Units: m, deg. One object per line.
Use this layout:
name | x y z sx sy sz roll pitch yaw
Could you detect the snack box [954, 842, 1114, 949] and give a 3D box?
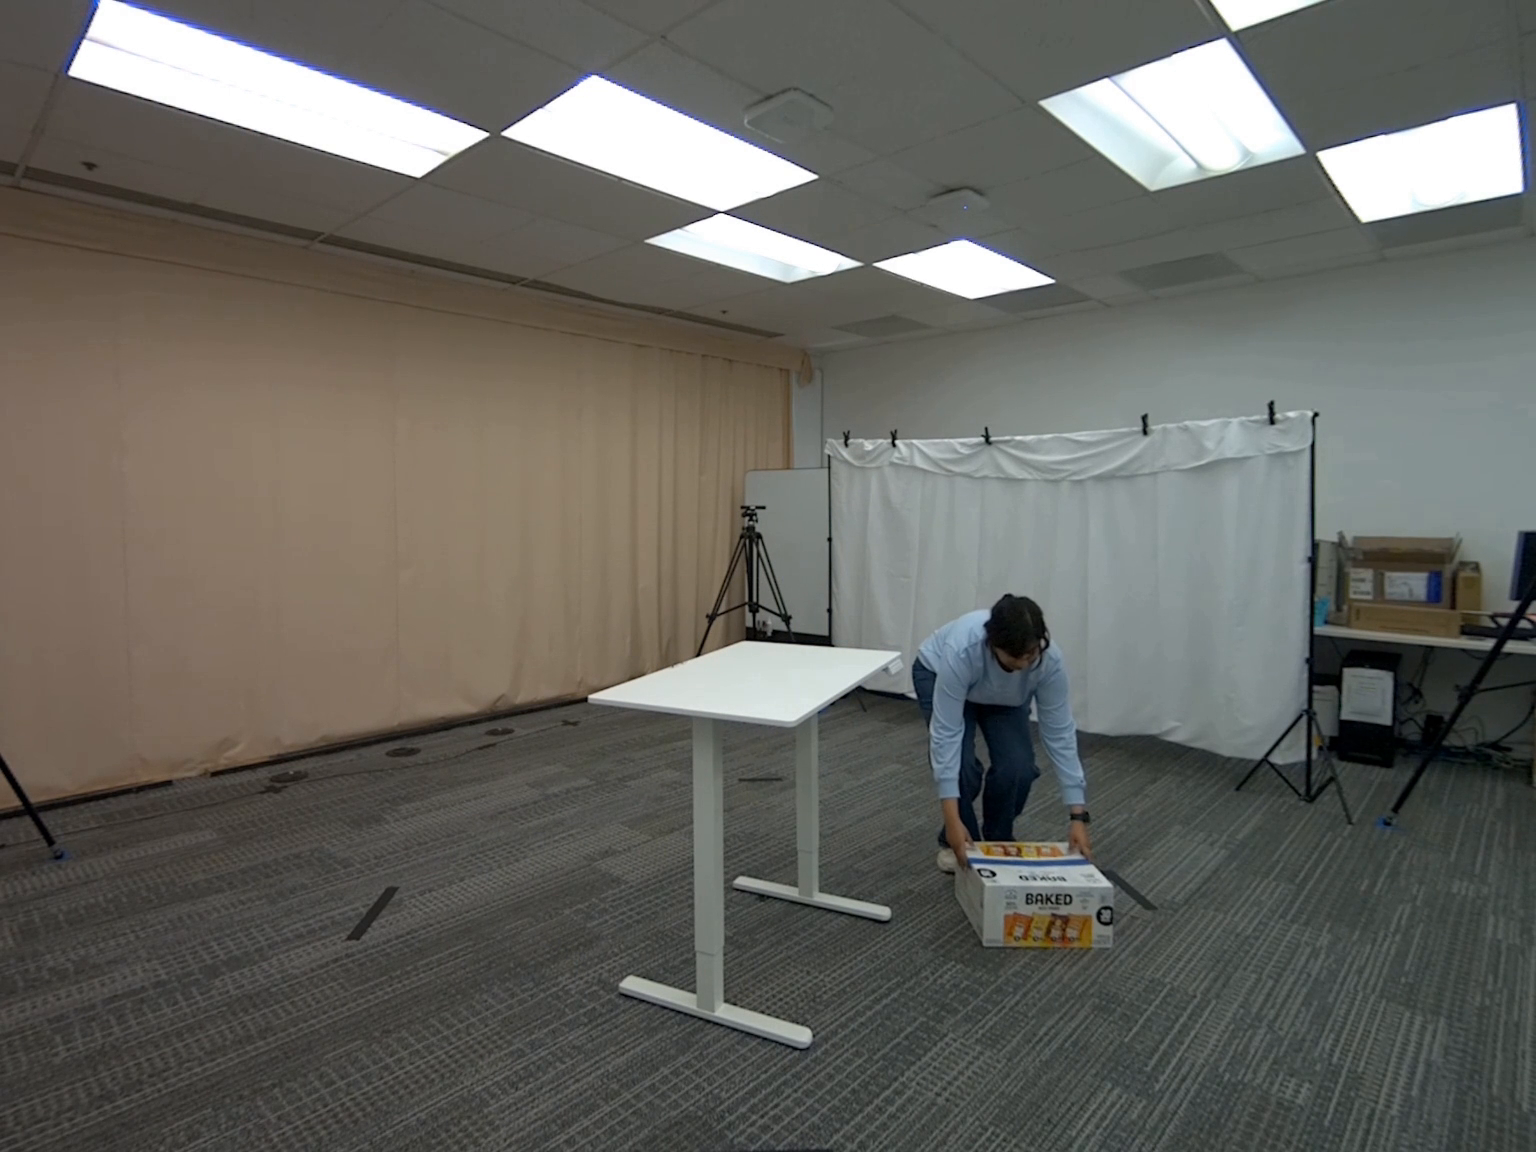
snack box | 0.870 1.049 2.806 0.405 0.205 0.341 0 4 -1
